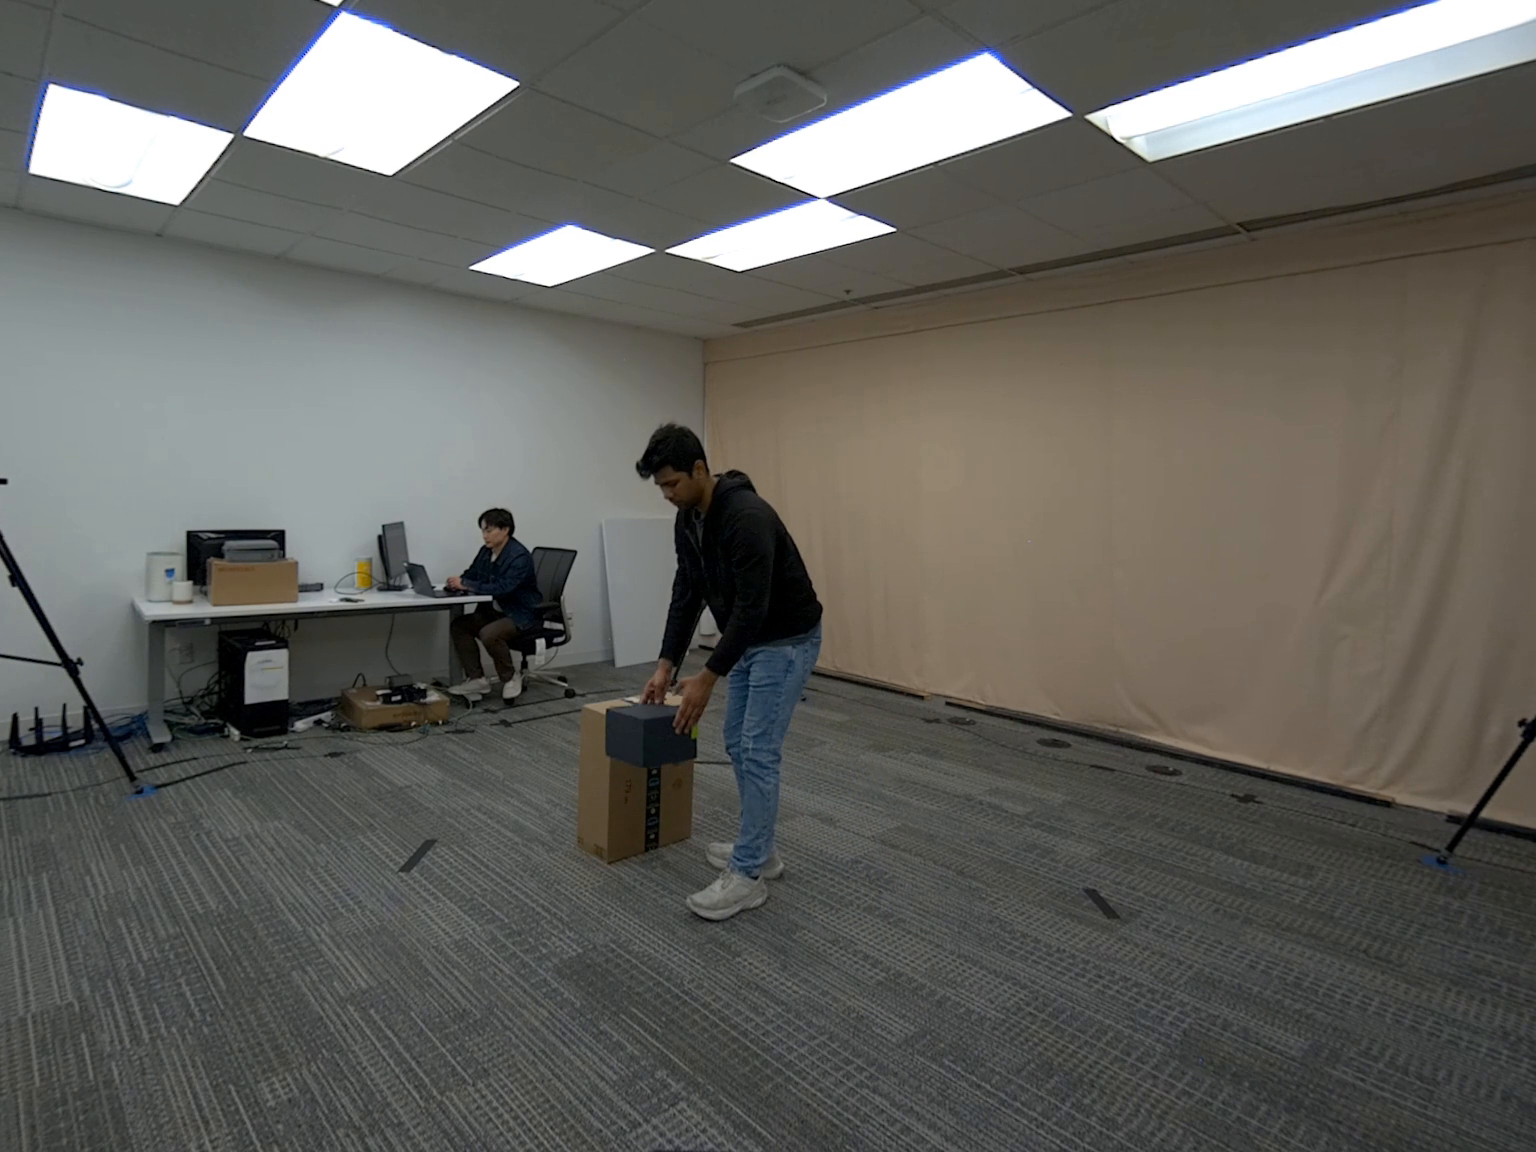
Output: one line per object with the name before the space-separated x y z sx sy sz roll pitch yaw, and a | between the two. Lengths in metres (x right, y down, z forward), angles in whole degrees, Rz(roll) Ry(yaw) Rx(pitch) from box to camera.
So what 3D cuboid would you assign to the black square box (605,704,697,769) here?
black square box | -0.398 0.534 2.778 0.212 0.156 0.233 1 0 -42
